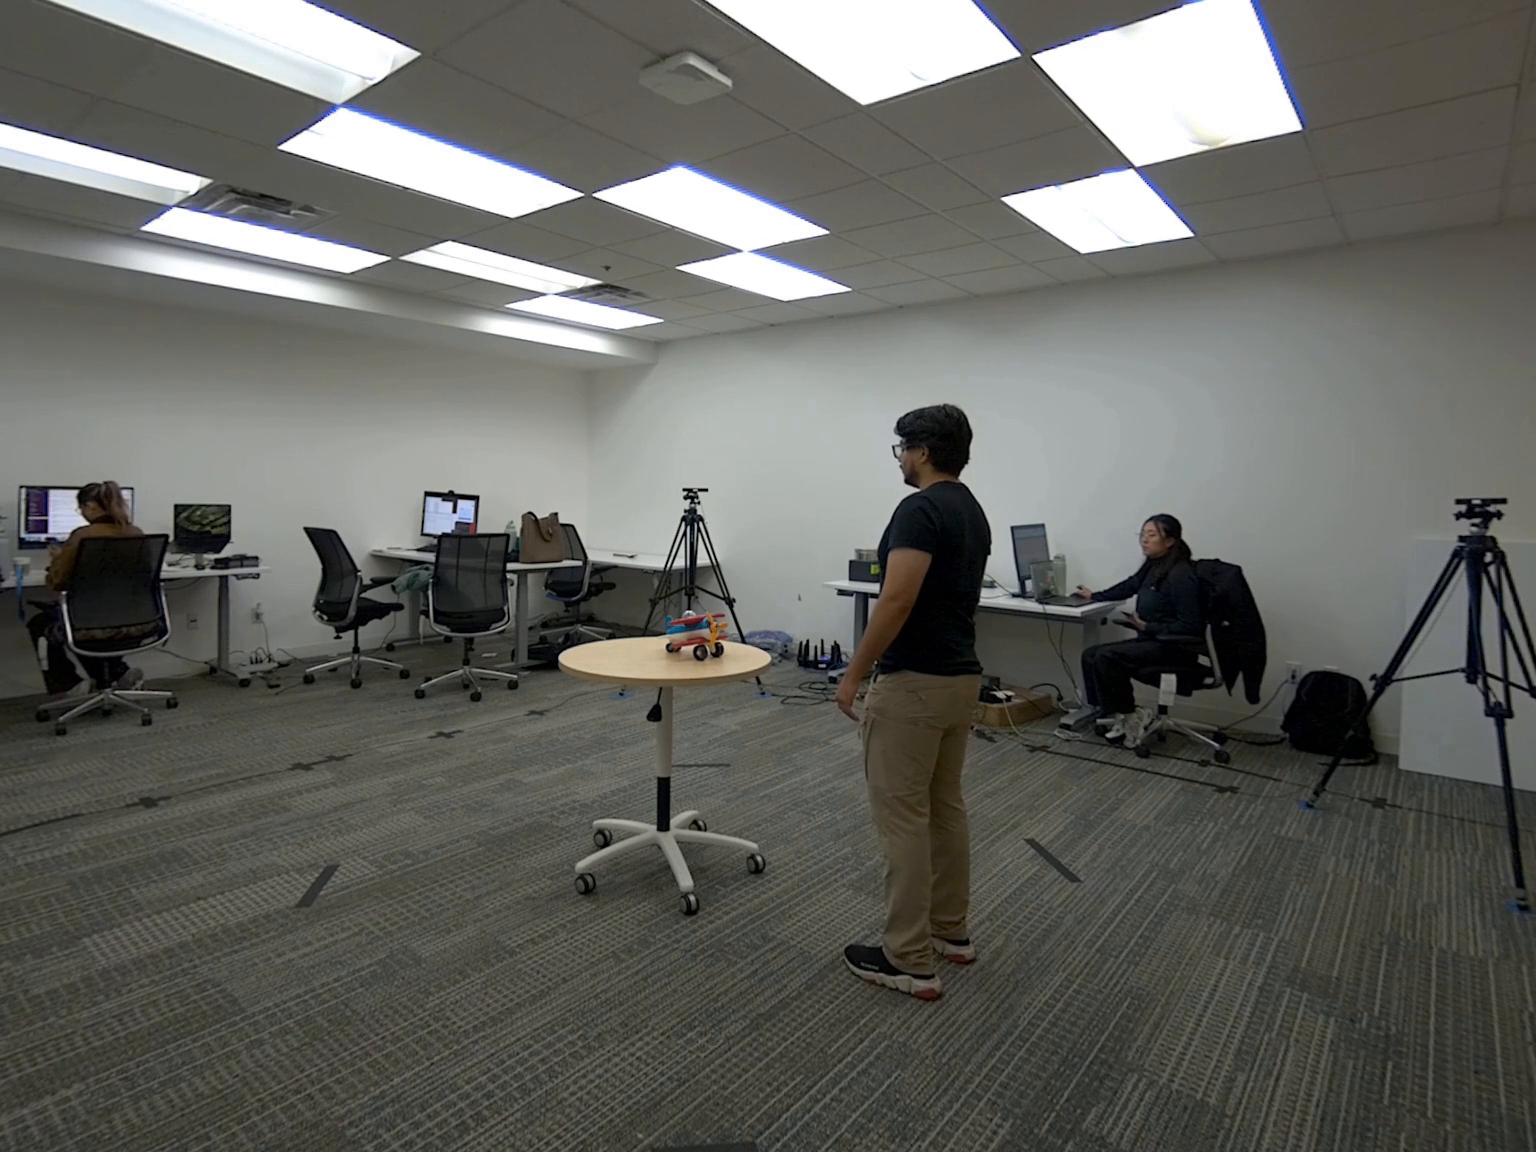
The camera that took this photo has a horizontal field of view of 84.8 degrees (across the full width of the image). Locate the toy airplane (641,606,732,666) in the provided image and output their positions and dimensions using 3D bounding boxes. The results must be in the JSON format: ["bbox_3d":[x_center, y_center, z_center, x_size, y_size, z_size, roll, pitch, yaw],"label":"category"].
[{"bbox_3d":[-0.296,0.212,3.073,0.263,0.156,0.248,4,5,13],"label":"toy airplane"}]
